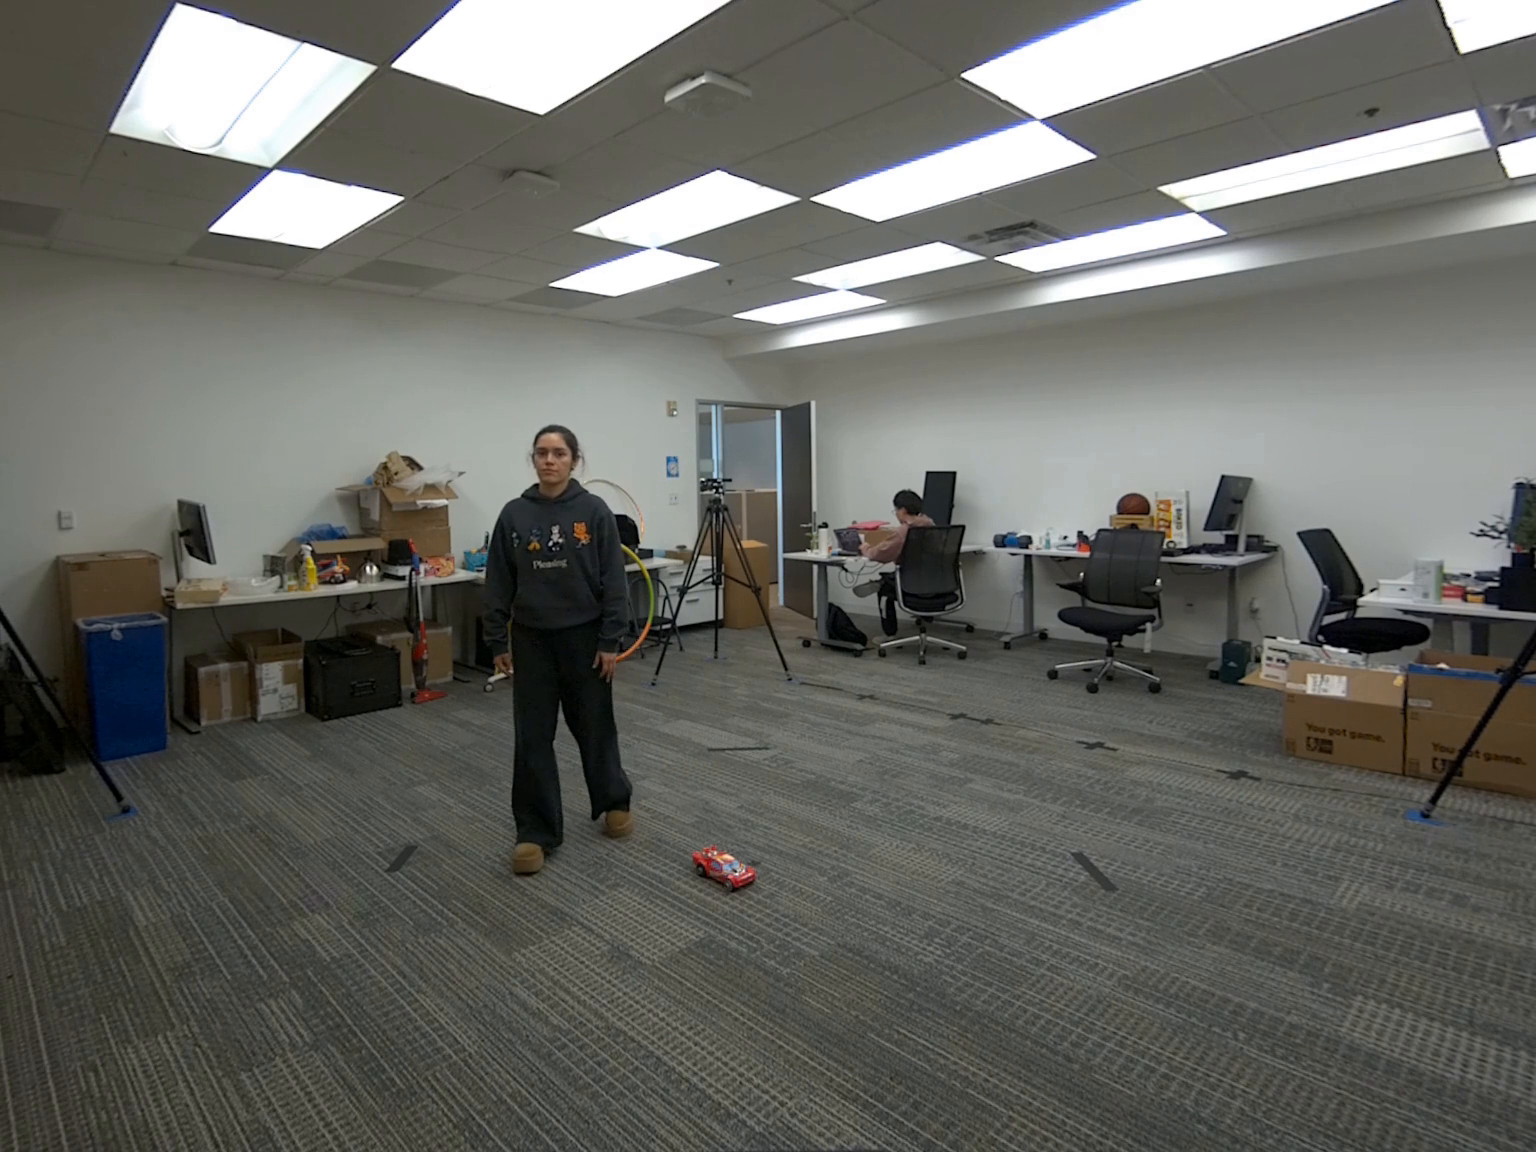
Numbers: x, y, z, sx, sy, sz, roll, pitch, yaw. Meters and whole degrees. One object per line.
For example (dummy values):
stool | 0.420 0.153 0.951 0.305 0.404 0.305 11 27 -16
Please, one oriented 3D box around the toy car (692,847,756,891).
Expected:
toy car | -0.158 1.028 2.989 0.127 0.082 0.264 -6 18 -42
